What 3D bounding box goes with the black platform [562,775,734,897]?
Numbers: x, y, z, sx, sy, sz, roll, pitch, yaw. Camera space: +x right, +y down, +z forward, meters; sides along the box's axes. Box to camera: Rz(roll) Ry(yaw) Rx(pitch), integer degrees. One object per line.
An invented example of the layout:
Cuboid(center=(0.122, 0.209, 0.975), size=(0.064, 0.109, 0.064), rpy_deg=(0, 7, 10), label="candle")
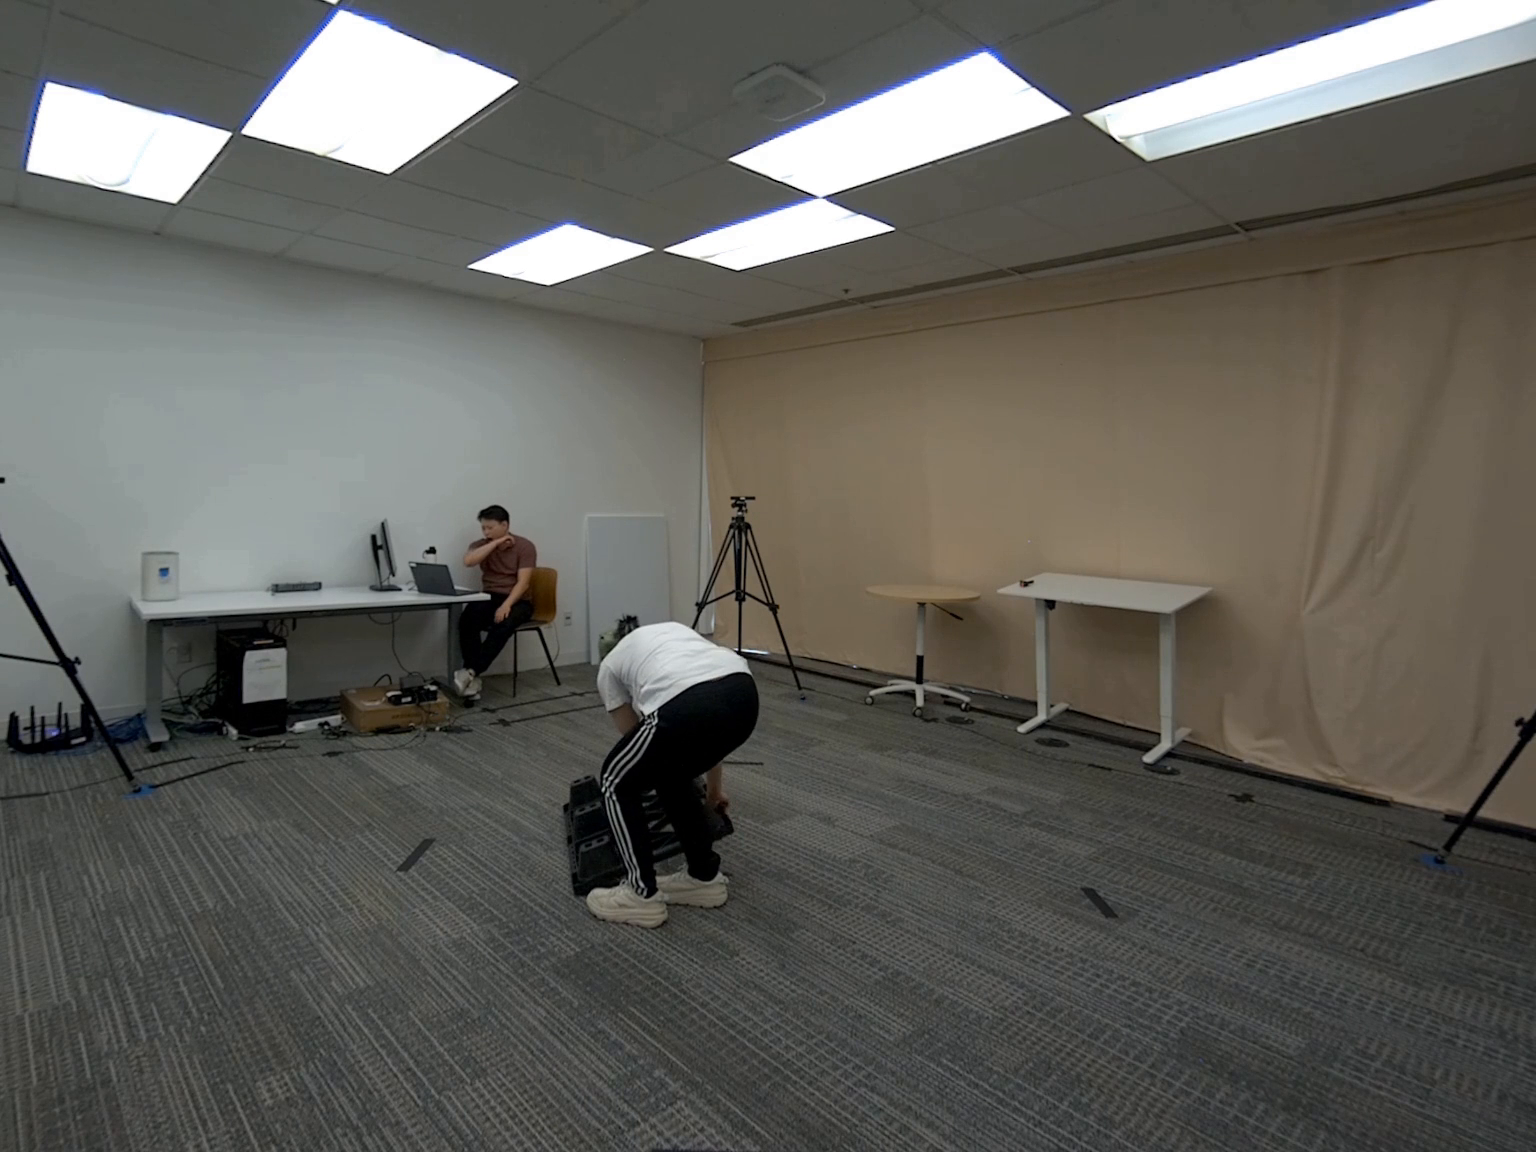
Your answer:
Cuboid(center=(-0.532, 0.919, 3.346), size=(0.601, 0.142, 0.817), rpy_deg=(-18, 10, -13), label="black platform")
